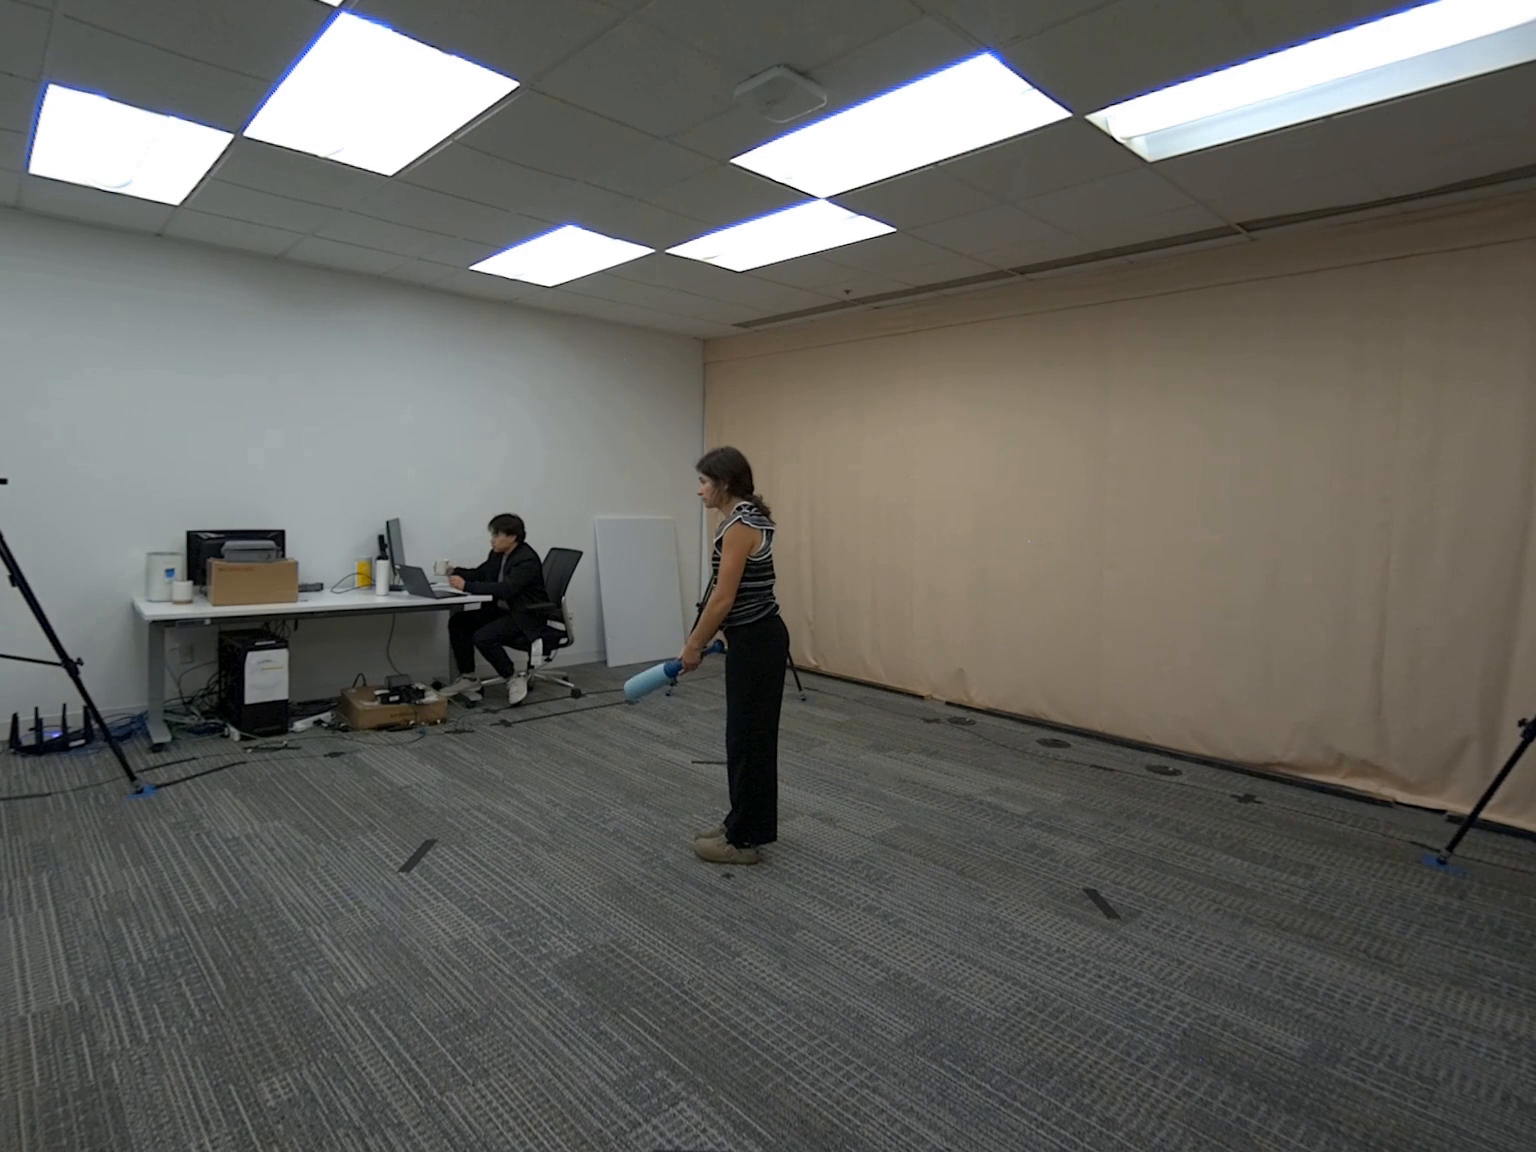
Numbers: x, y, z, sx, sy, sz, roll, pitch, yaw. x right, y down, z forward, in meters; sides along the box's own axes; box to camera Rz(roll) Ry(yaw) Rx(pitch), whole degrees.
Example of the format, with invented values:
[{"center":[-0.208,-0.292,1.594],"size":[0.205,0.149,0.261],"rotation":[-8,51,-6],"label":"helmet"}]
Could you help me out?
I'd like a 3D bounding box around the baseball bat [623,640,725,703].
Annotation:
[{"center":[-0.379,0.371,3.325],"size":[0.548,0.090,0.087],"rotation":[-29,-15,34],"label":"baseball bat"}]
